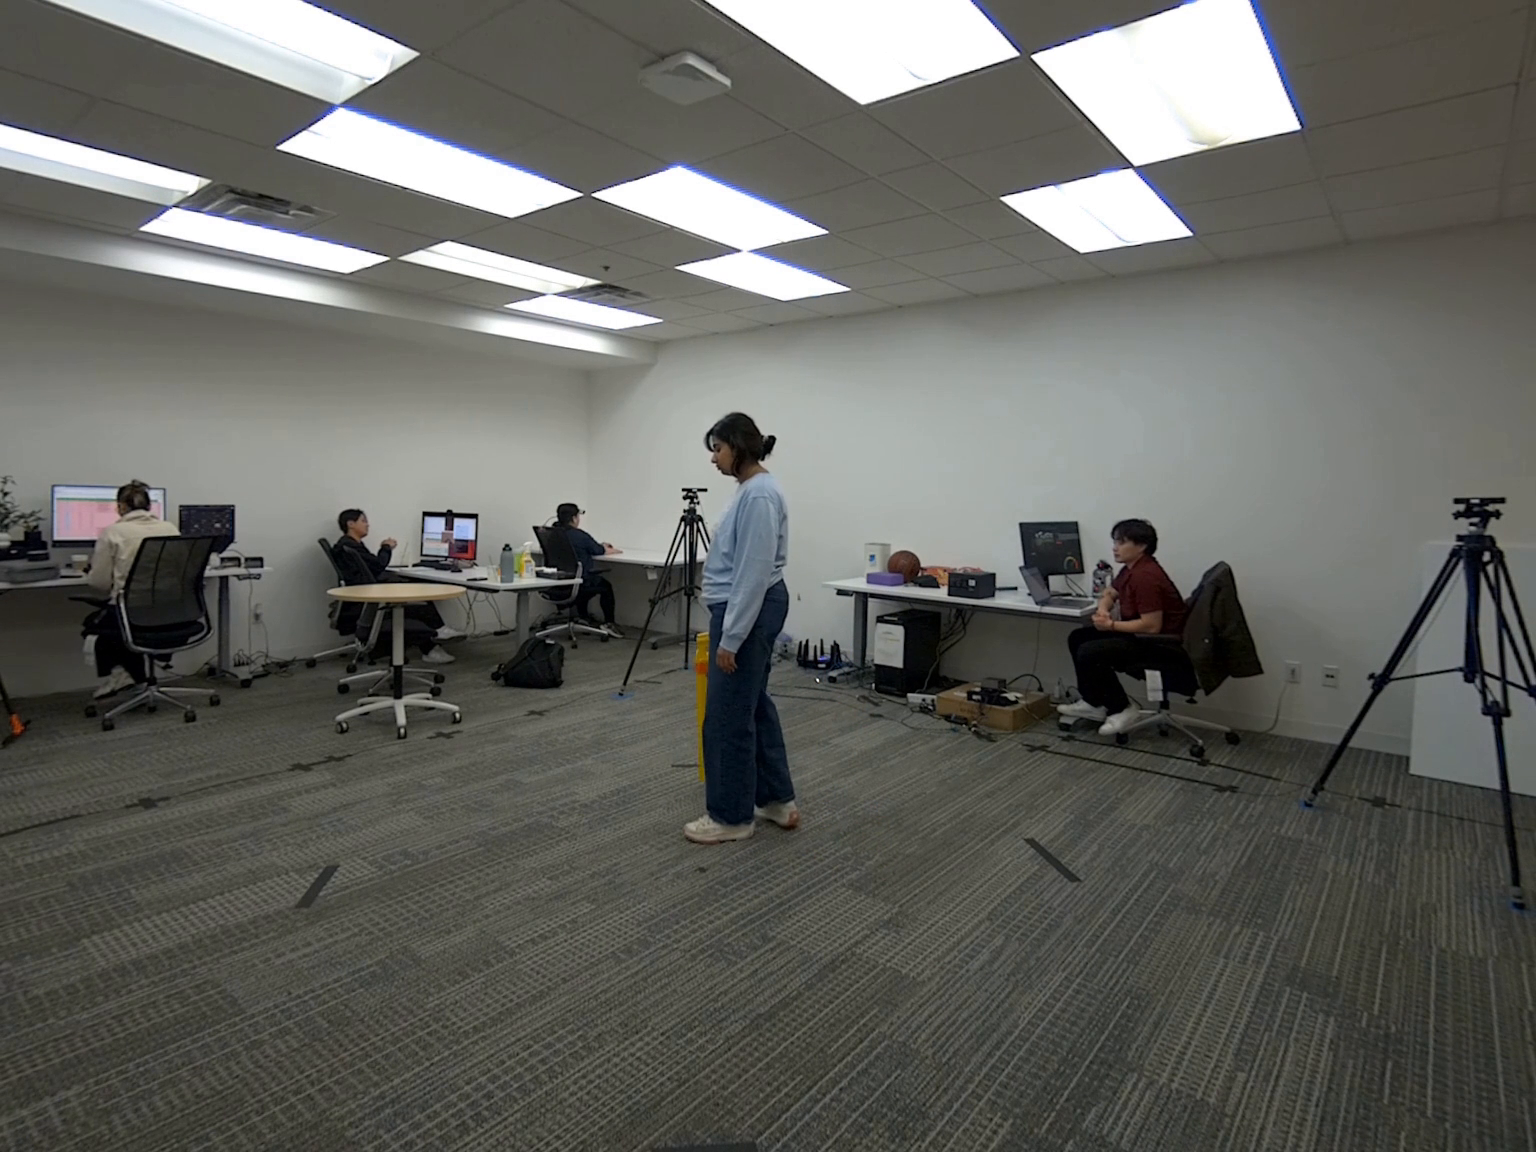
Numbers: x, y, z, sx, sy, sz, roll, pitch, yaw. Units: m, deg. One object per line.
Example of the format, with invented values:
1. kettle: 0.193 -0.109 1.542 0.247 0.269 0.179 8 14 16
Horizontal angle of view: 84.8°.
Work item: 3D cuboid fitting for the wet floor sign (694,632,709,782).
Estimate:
1. wet floor sign: -0.212 0.567 3.863 0.282 0.639 0.293 -4 10 -1
